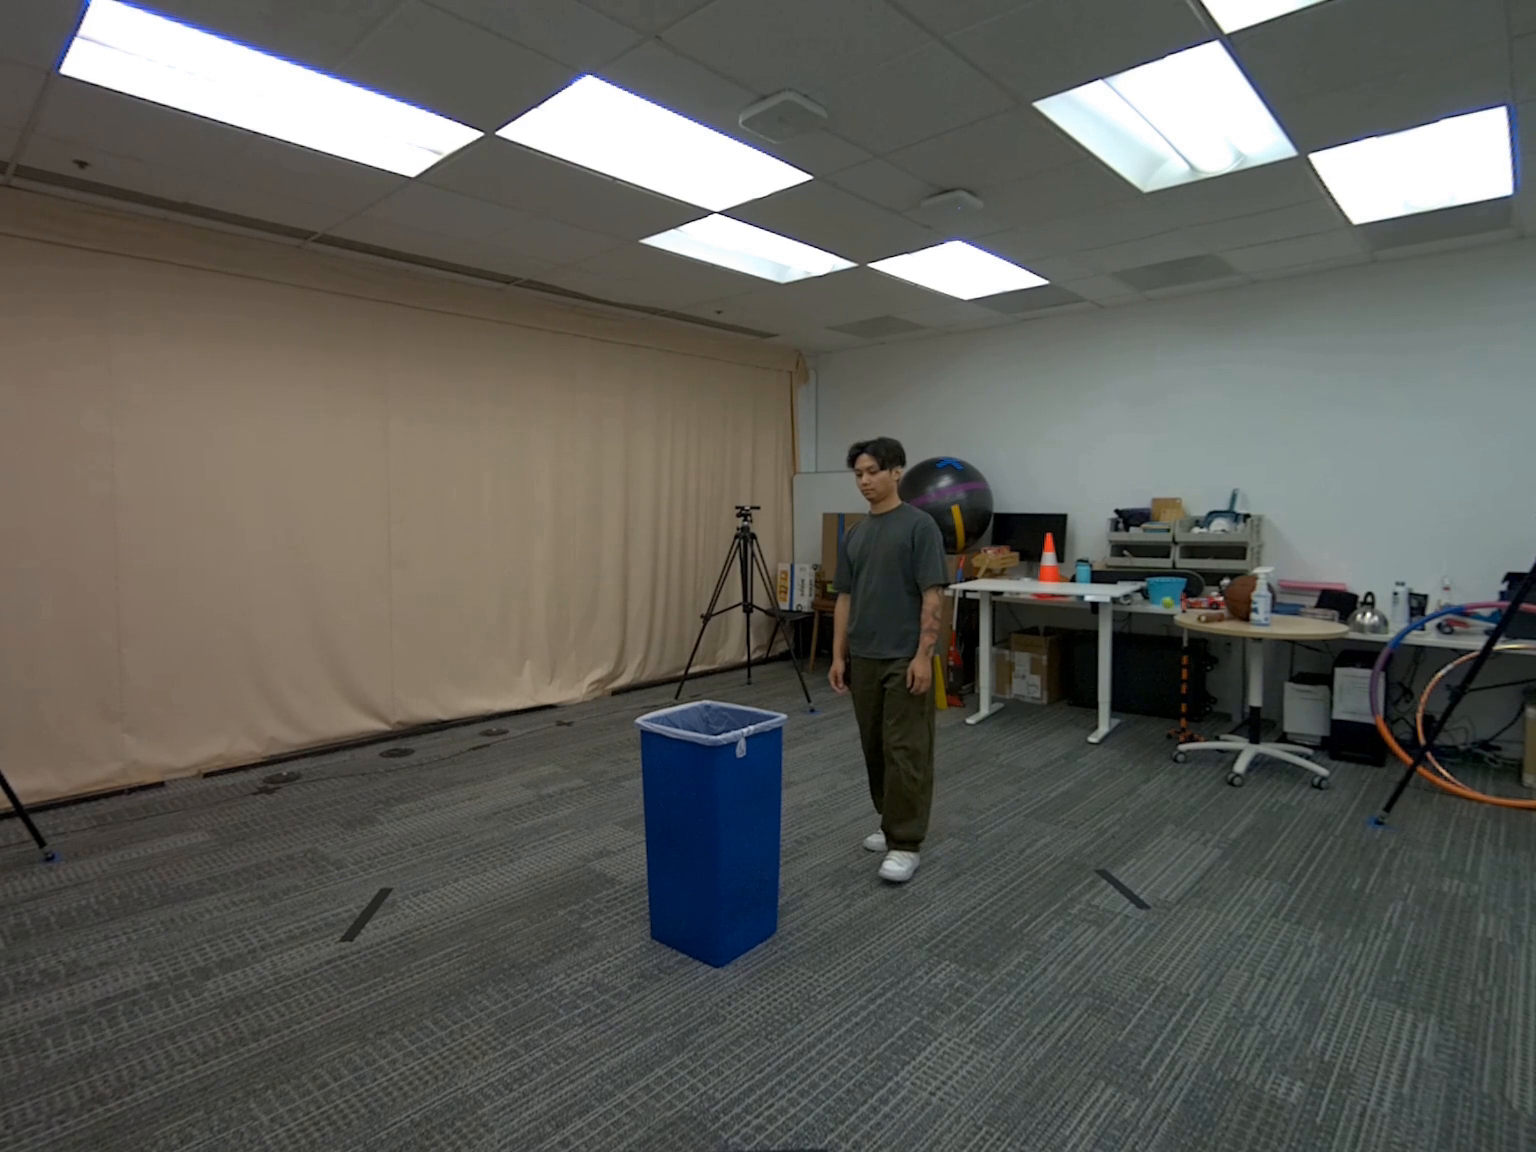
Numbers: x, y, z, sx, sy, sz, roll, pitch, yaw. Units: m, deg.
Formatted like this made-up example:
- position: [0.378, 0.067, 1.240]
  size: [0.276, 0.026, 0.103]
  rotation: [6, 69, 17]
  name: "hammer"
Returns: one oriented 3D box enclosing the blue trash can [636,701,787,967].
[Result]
- position: [-0.178, 0.810, 2.712]
  size: [0.390, 0.712, 0.363]
  rotation: [2, 3, 38]
  name: "blue trash can"
